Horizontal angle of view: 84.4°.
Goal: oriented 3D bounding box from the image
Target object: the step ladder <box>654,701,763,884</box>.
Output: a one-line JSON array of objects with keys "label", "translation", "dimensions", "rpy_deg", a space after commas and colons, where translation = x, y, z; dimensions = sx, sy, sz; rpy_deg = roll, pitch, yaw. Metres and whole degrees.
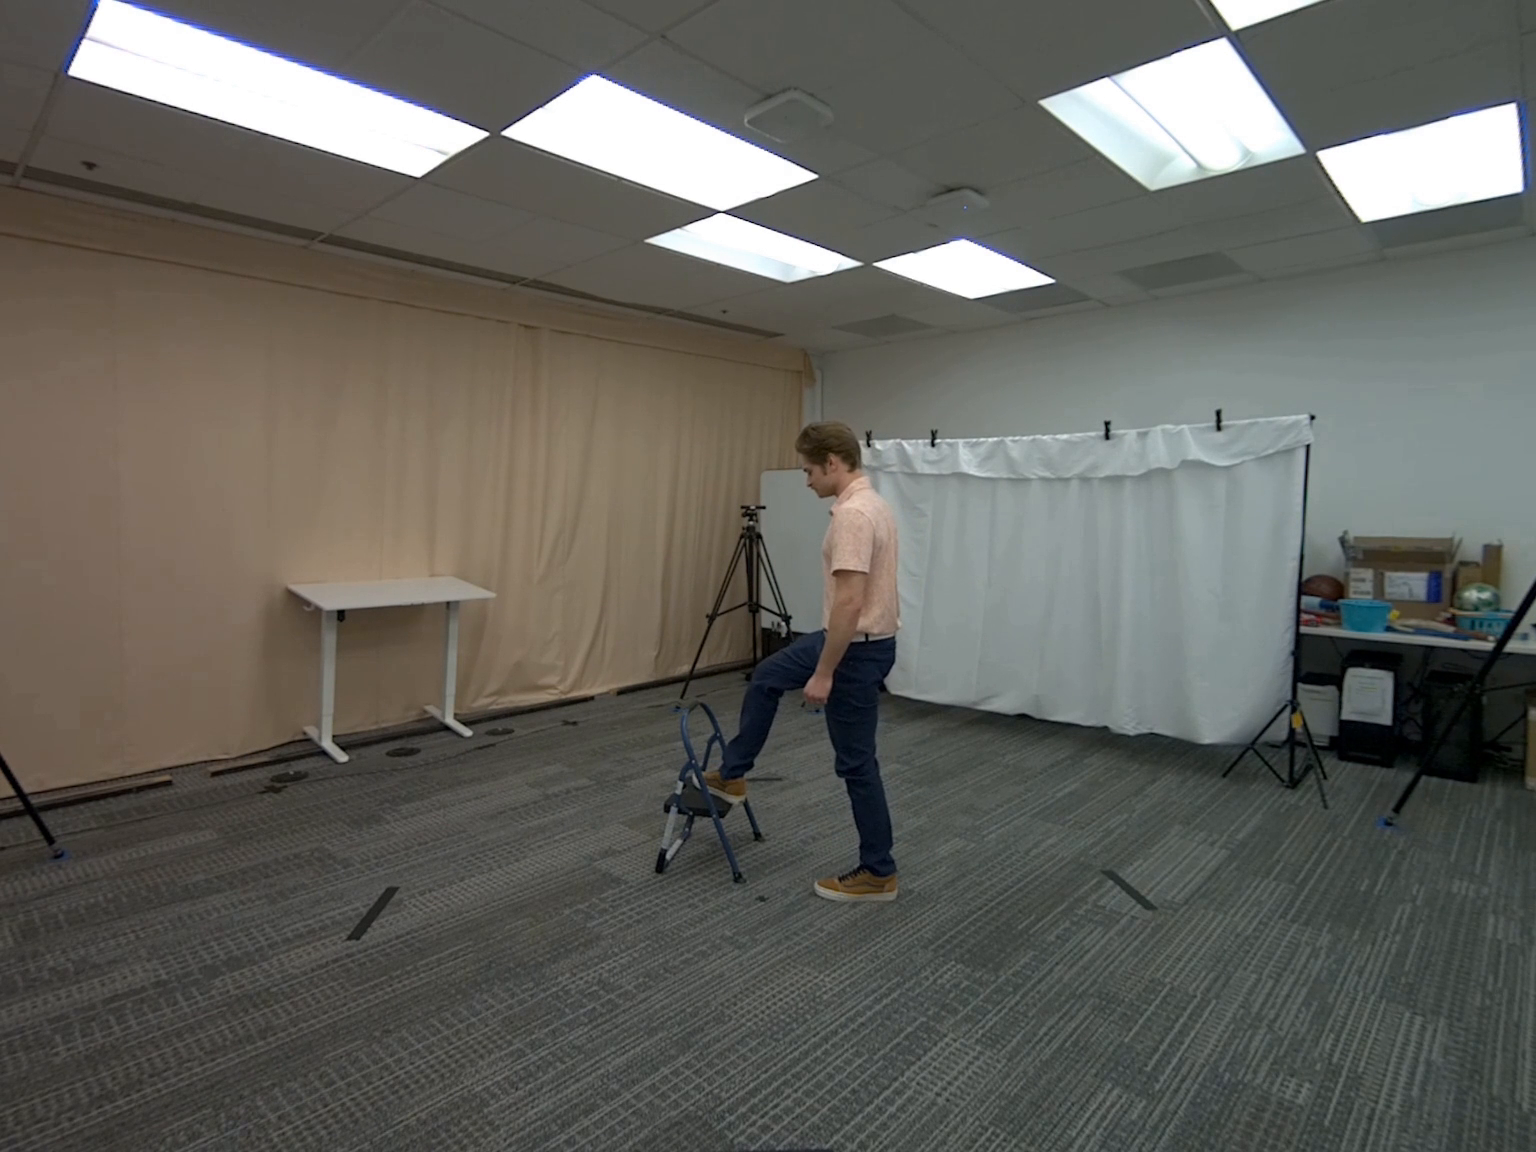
[{"label": "step ladder", "translation": [-0.227, 0.814, 3.339], "dimensions": [0.354, 0.605, 0.426], "rpy_deg": [0, 4, 12]}]
